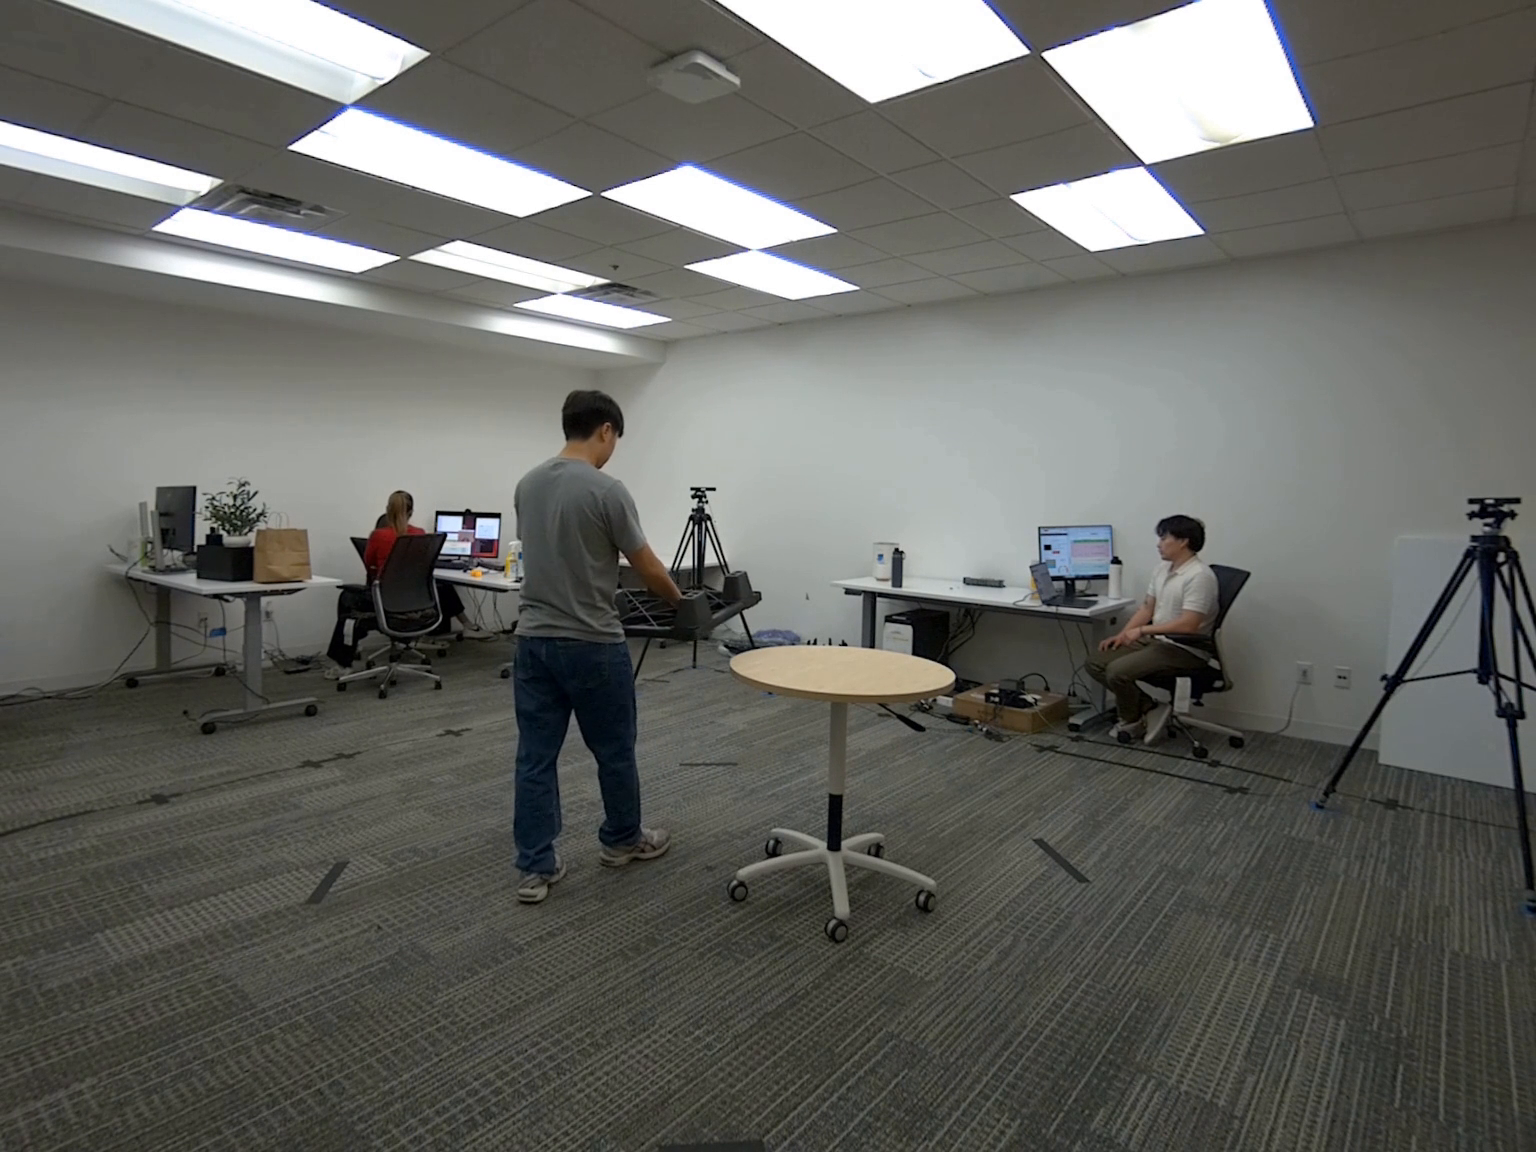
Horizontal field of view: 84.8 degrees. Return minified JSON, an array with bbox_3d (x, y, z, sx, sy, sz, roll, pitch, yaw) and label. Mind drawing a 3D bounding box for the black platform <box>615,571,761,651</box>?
[{"bbox_3d":[-0.511,0.093,3.309,0.825,0.142,0.596,0,12,24],"label":"black platform"}]
